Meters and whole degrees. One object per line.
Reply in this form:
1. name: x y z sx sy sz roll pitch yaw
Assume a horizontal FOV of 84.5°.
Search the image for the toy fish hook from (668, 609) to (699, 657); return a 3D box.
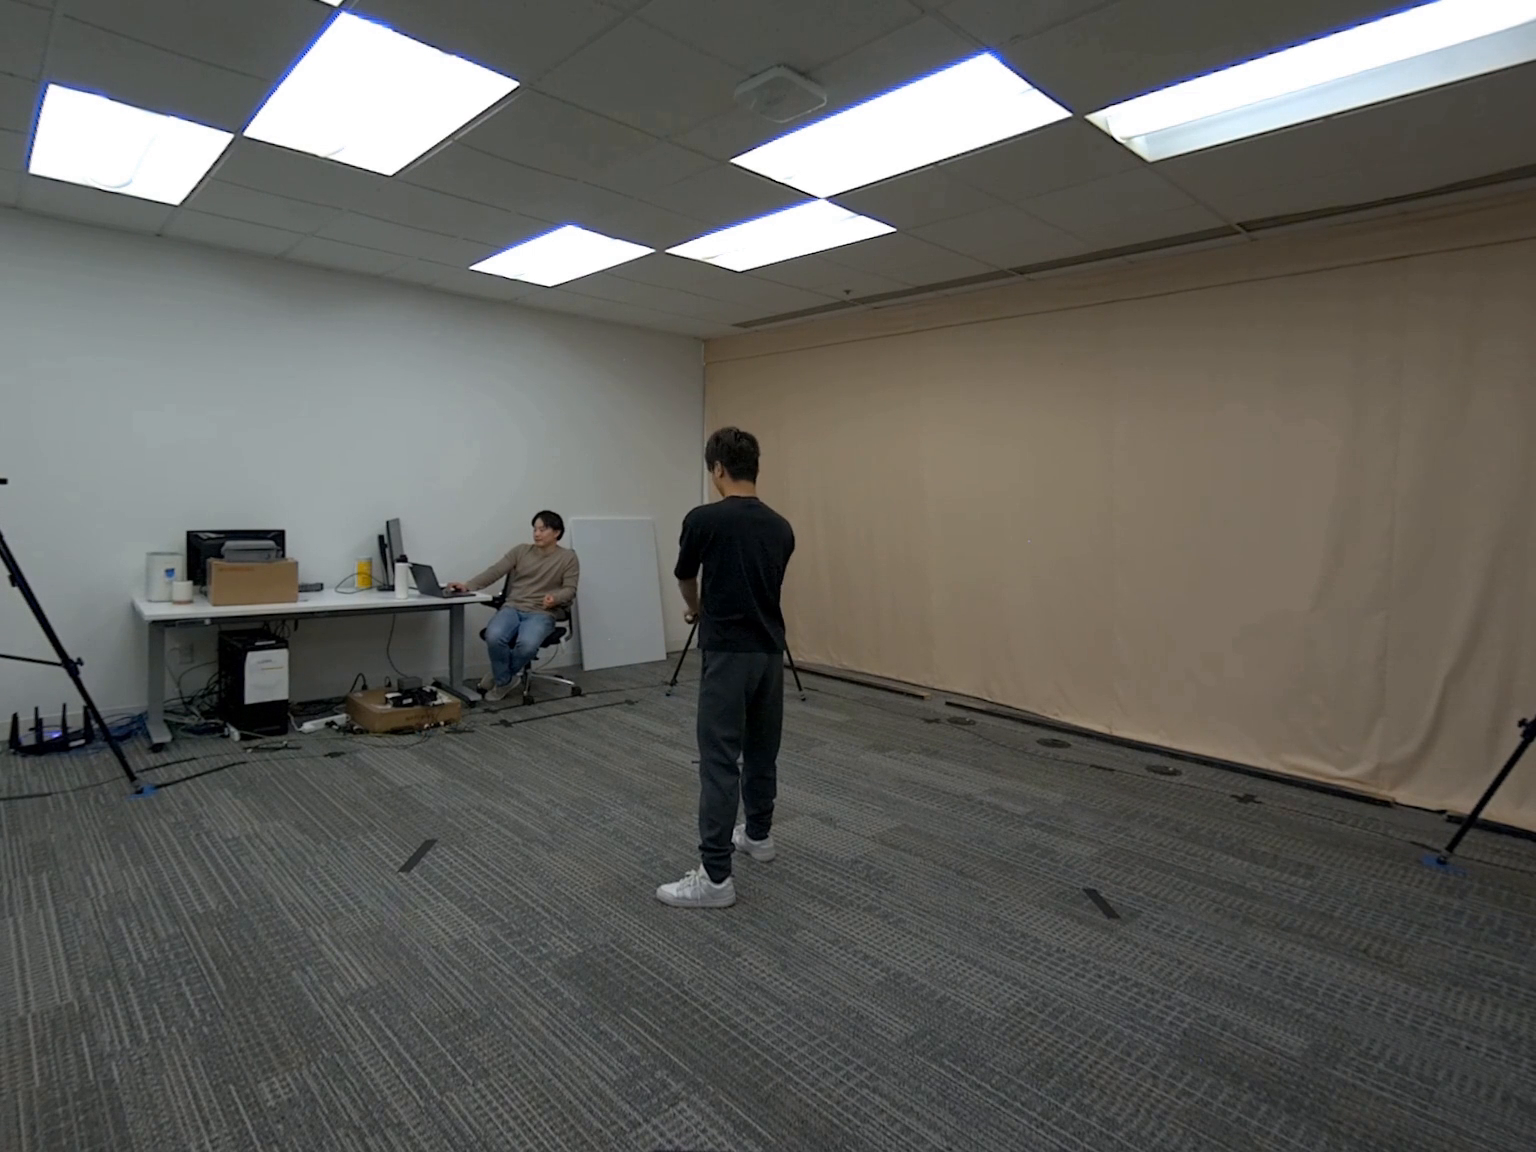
1. toy fish hook: -0.237 0.146 3.606 0.049 0.222 0.503 32 29 14
